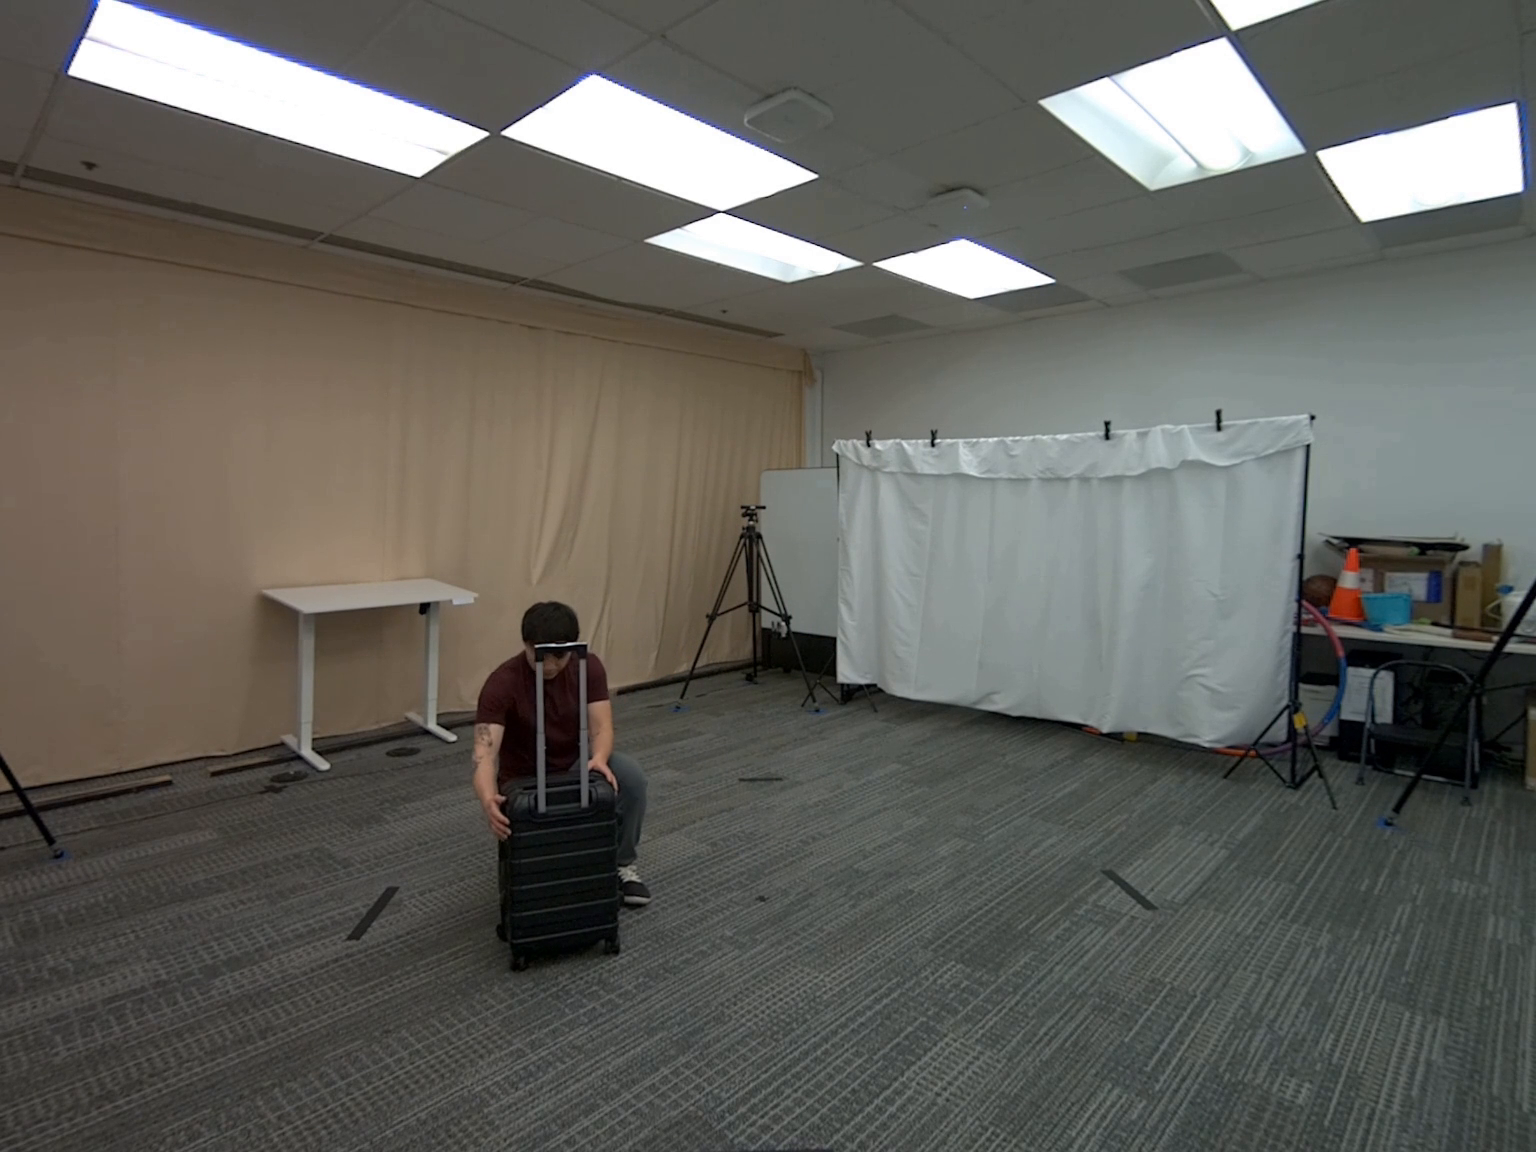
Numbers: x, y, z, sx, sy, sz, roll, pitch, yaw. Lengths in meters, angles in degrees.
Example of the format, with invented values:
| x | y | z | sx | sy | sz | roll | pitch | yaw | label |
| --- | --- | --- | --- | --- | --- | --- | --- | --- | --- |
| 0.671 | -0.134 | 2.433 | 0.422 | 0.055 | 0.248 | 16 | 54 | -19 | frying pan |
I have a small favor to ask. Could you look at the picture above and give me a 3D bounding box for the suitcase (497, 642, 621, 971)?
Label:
| x | y | z | sx | sy | sz | roll | pitch | yaw | label |
| --- | --- | --- | --- | --- | --- | --- | --- | --- | --- |
| -0.657 | 0.695 | 2.638 | 0.377 | 0.977 | 0.262 | 0 | 3 | -18 | suitcase |
